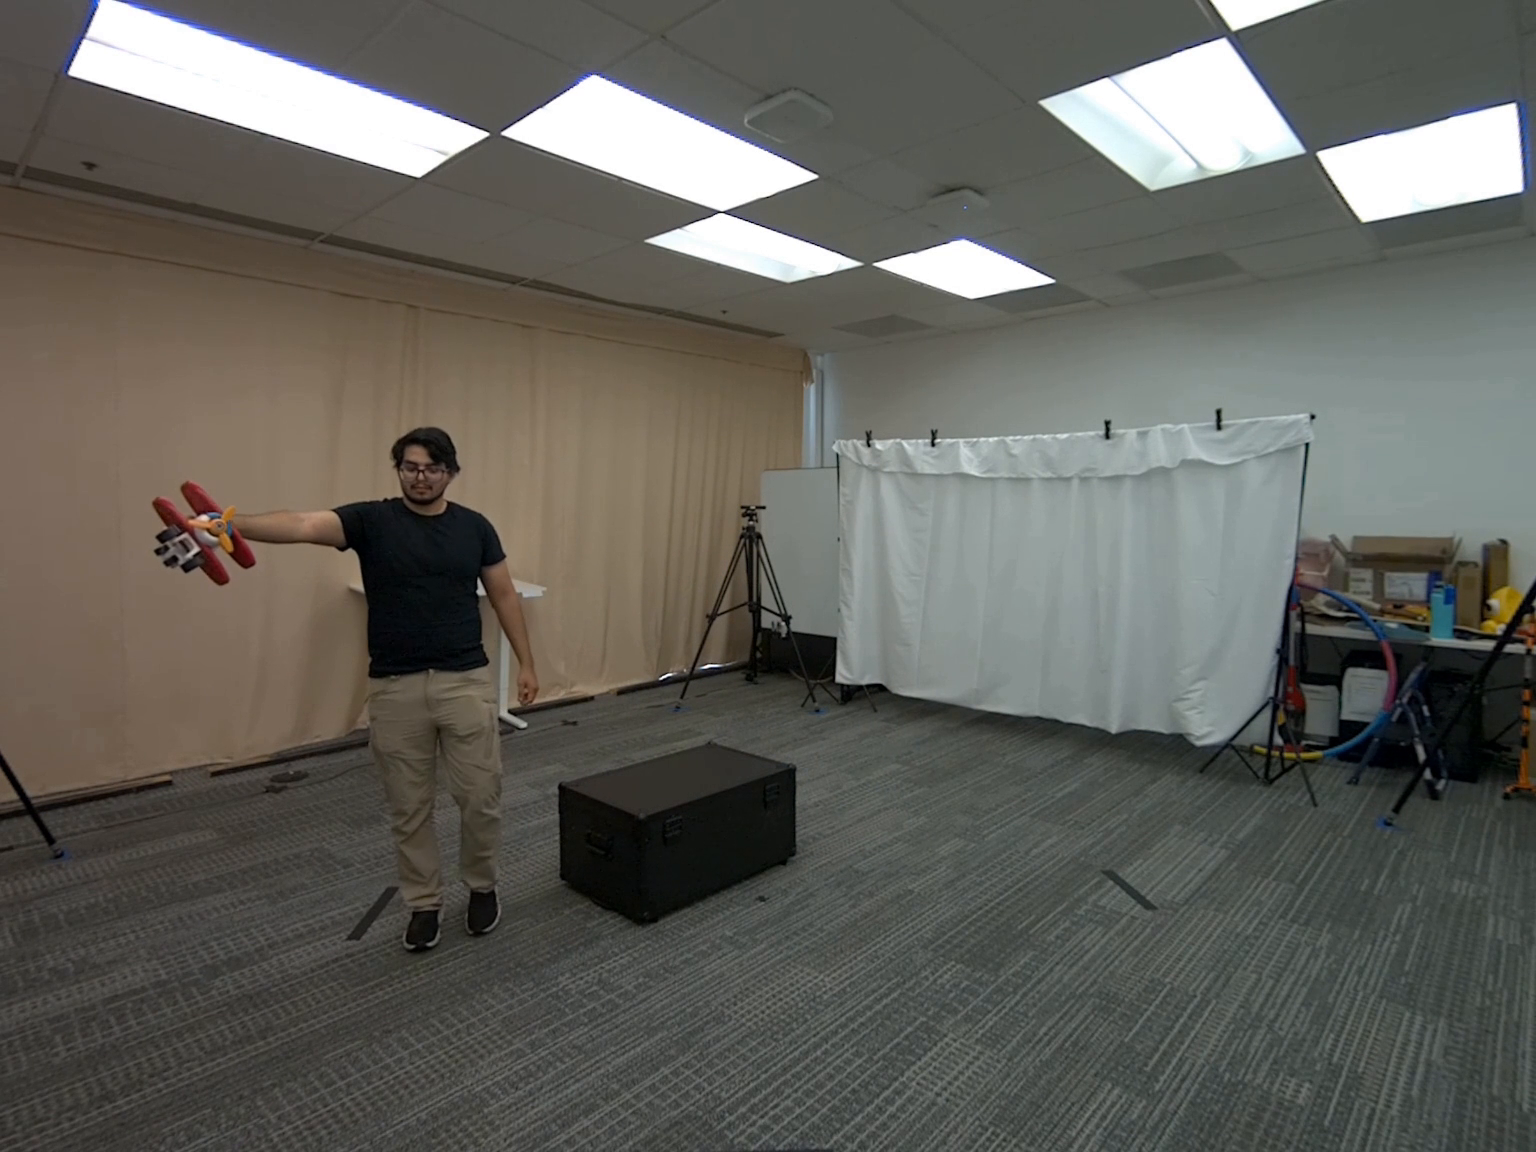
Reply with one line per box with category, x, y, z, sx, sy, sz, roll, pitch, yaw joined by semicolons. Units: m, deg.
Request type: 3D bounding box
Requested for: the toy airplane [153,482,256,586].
toy airplane;-1.450;-0.104;2.096;0.268;0.246;0.155;24;48;30
